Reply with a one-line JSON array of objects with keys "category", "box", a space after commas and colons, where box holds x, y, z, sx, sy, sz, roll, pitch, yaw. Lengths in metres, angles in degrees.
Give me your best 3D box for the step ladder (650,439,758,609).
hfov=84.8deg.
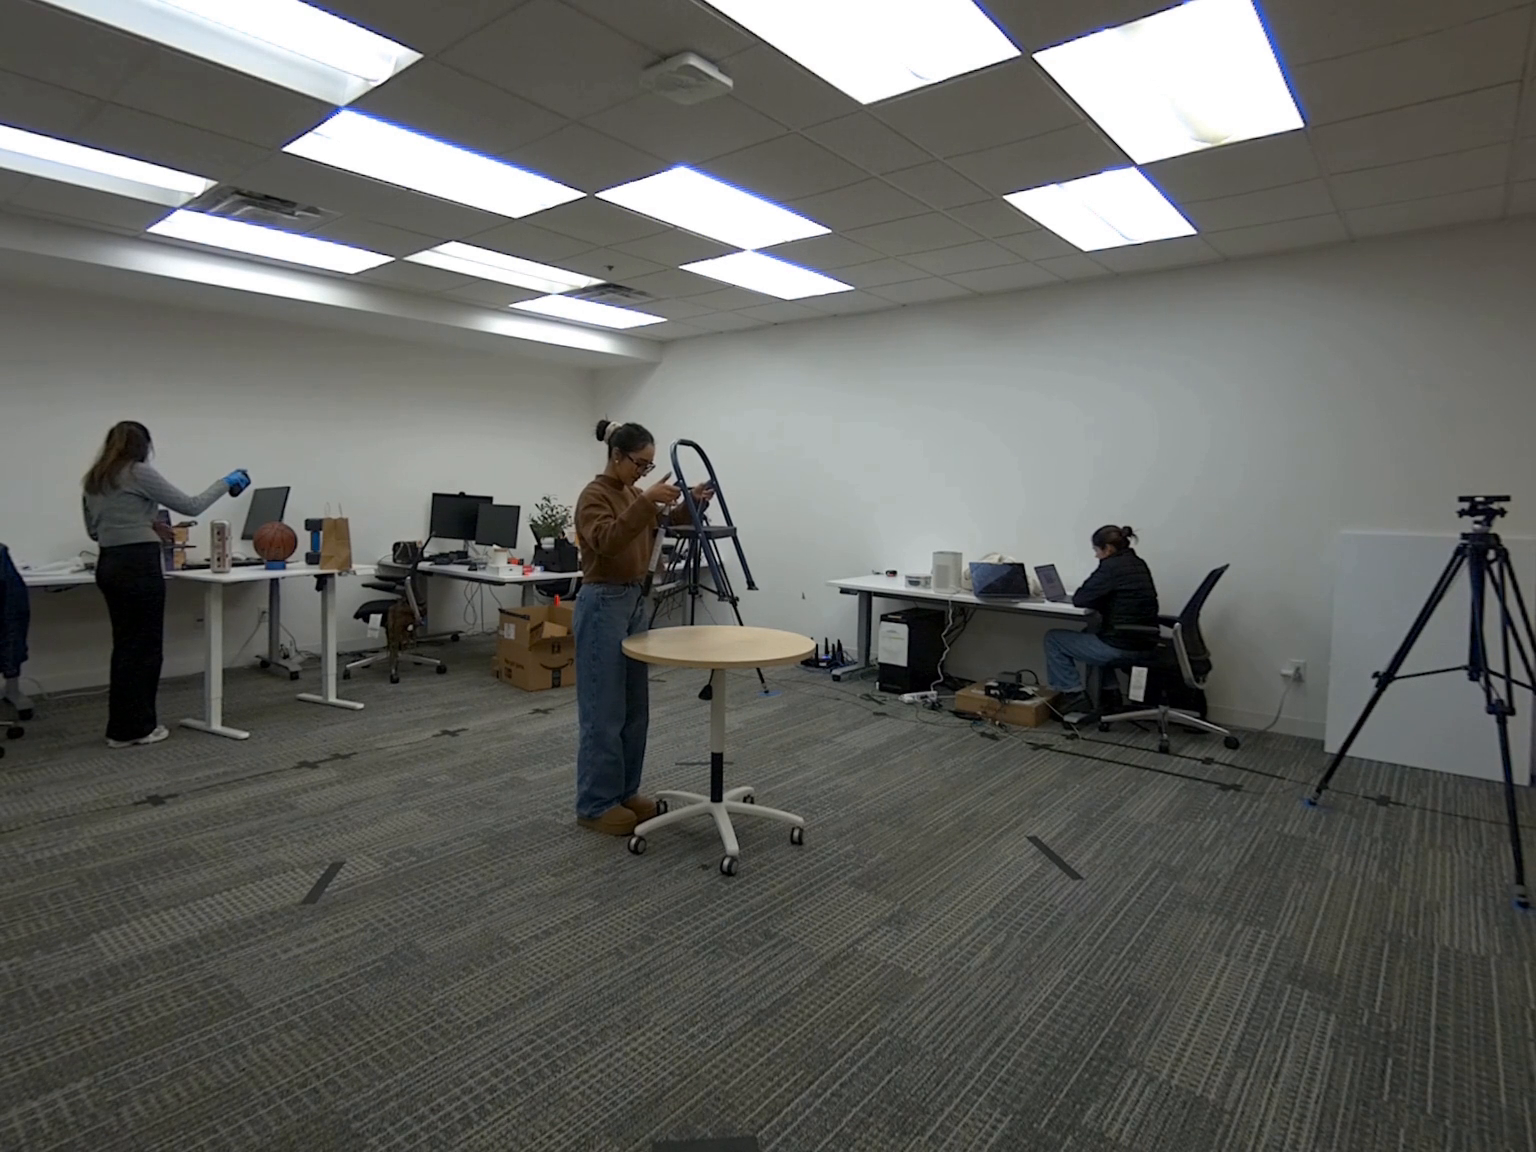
[{"category": "step ladder", "box": [-0.275, -0.236, 3.360, 0.356, 0.604, 0.424, 2, 4, 17]}]
